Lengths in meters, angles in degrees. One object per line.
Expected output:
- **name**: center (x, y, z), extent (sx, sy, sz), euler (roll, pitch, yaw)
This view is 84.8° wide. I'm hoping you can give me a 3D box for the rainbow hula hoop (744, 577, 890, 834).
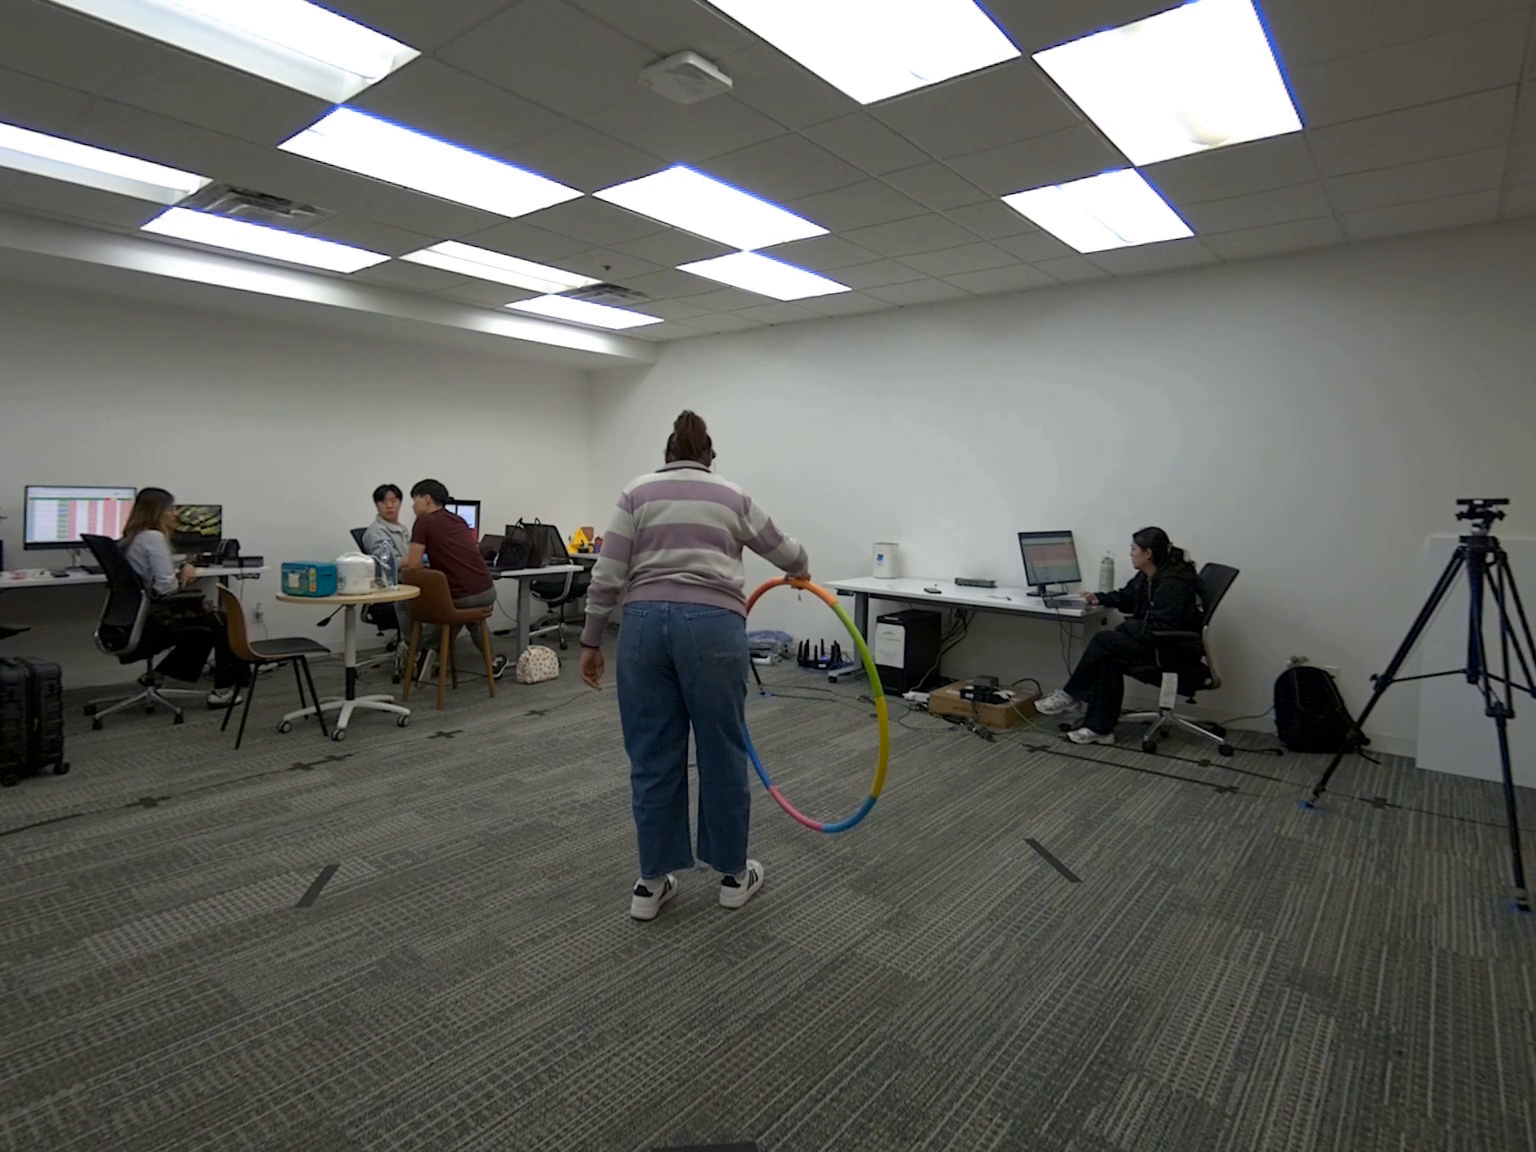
- **rainbow hula hoop**: center (0.113, 0.494, 3.343), extent (0.034, 0.973, 1.010), euler (-7, 7, -34)
